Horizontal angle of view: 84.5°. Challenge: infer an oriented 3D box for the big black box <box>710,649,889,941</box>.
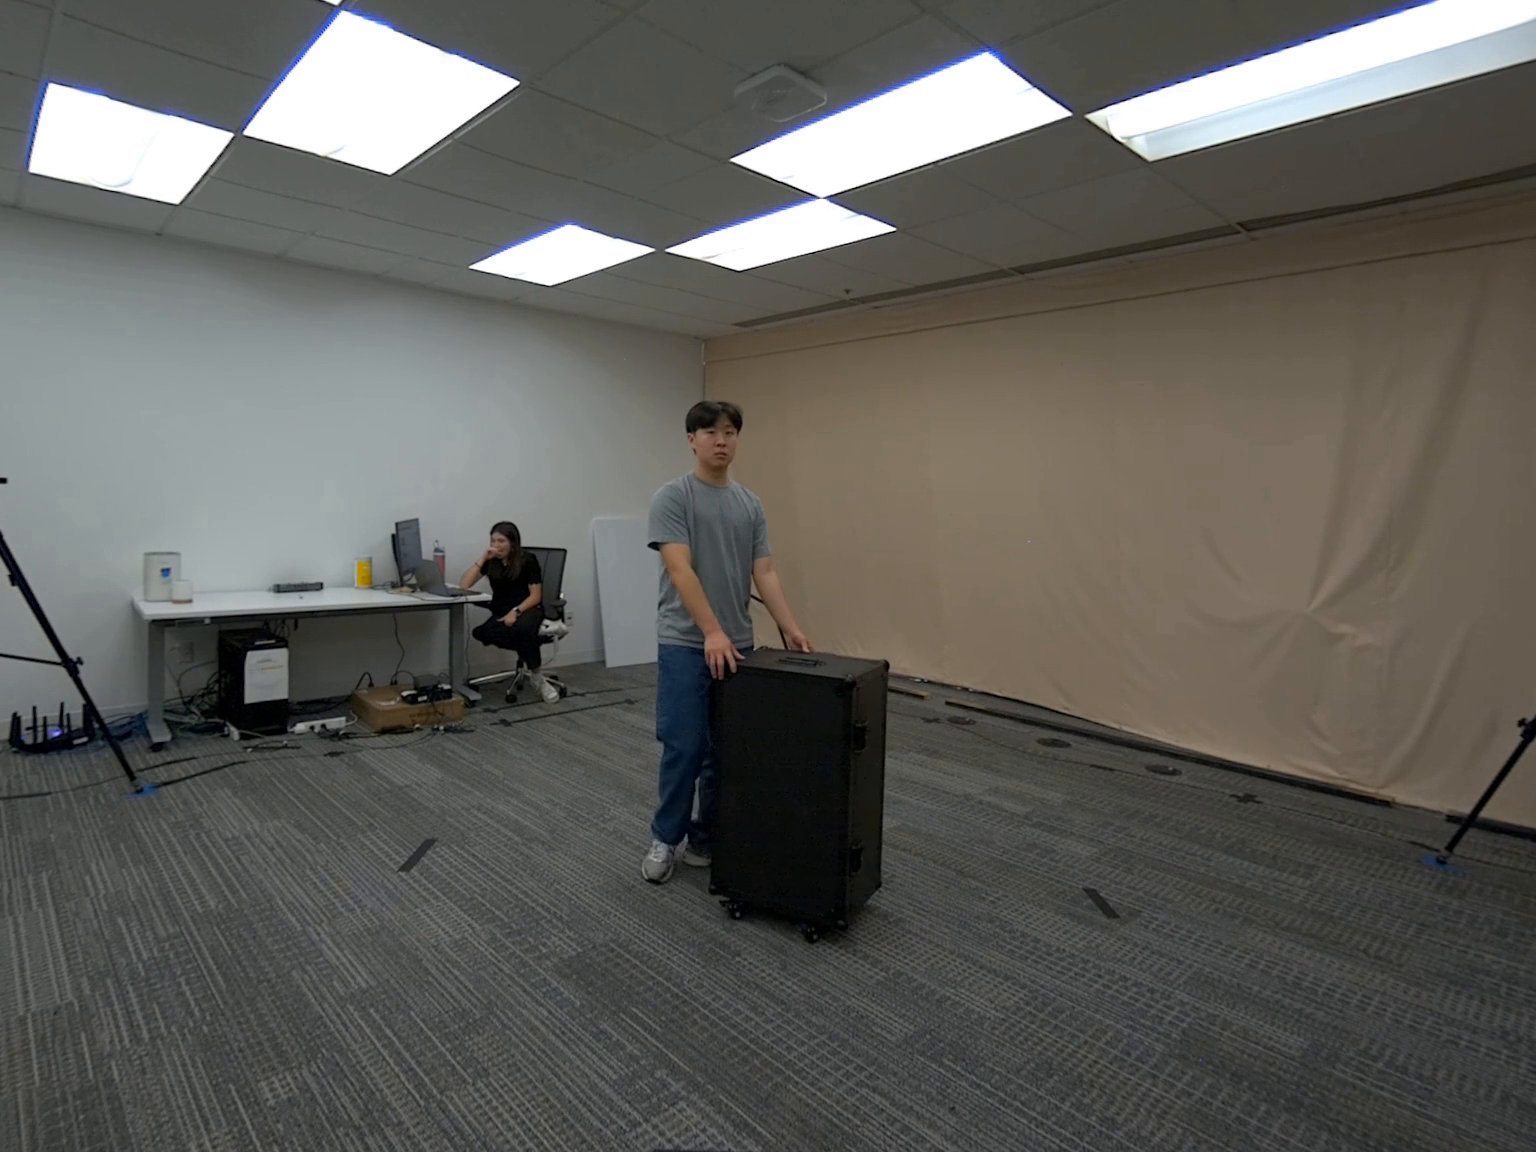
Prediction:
[{"bbox_3d":[0.105,0.713,2.835,0.532,0.860,0.389,3,3,27],"label":"big black box"}]
